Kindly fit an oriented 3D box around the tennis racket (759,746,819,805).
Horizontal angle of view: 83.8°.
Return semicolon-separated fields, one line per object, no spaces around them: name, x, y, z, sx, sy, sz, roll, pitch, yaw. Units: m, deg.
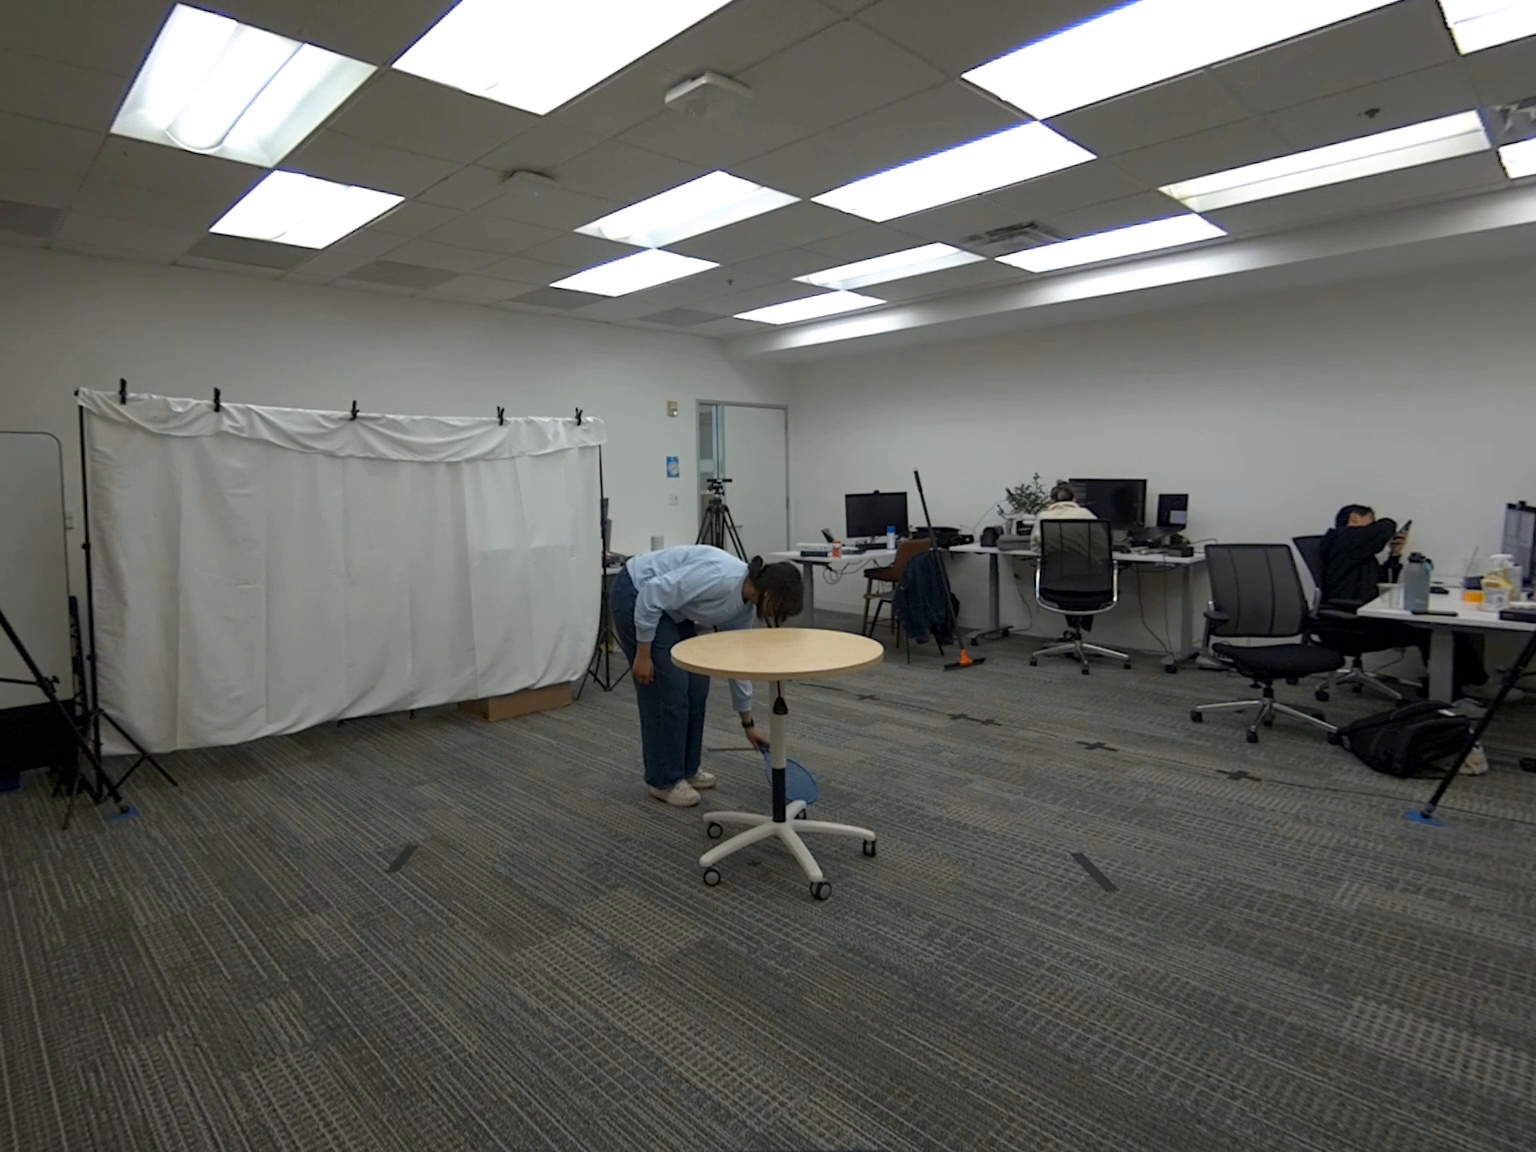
tennis racket;0.045;0.849;3.795;0.209;0.031;0.449;-13;42;-43
